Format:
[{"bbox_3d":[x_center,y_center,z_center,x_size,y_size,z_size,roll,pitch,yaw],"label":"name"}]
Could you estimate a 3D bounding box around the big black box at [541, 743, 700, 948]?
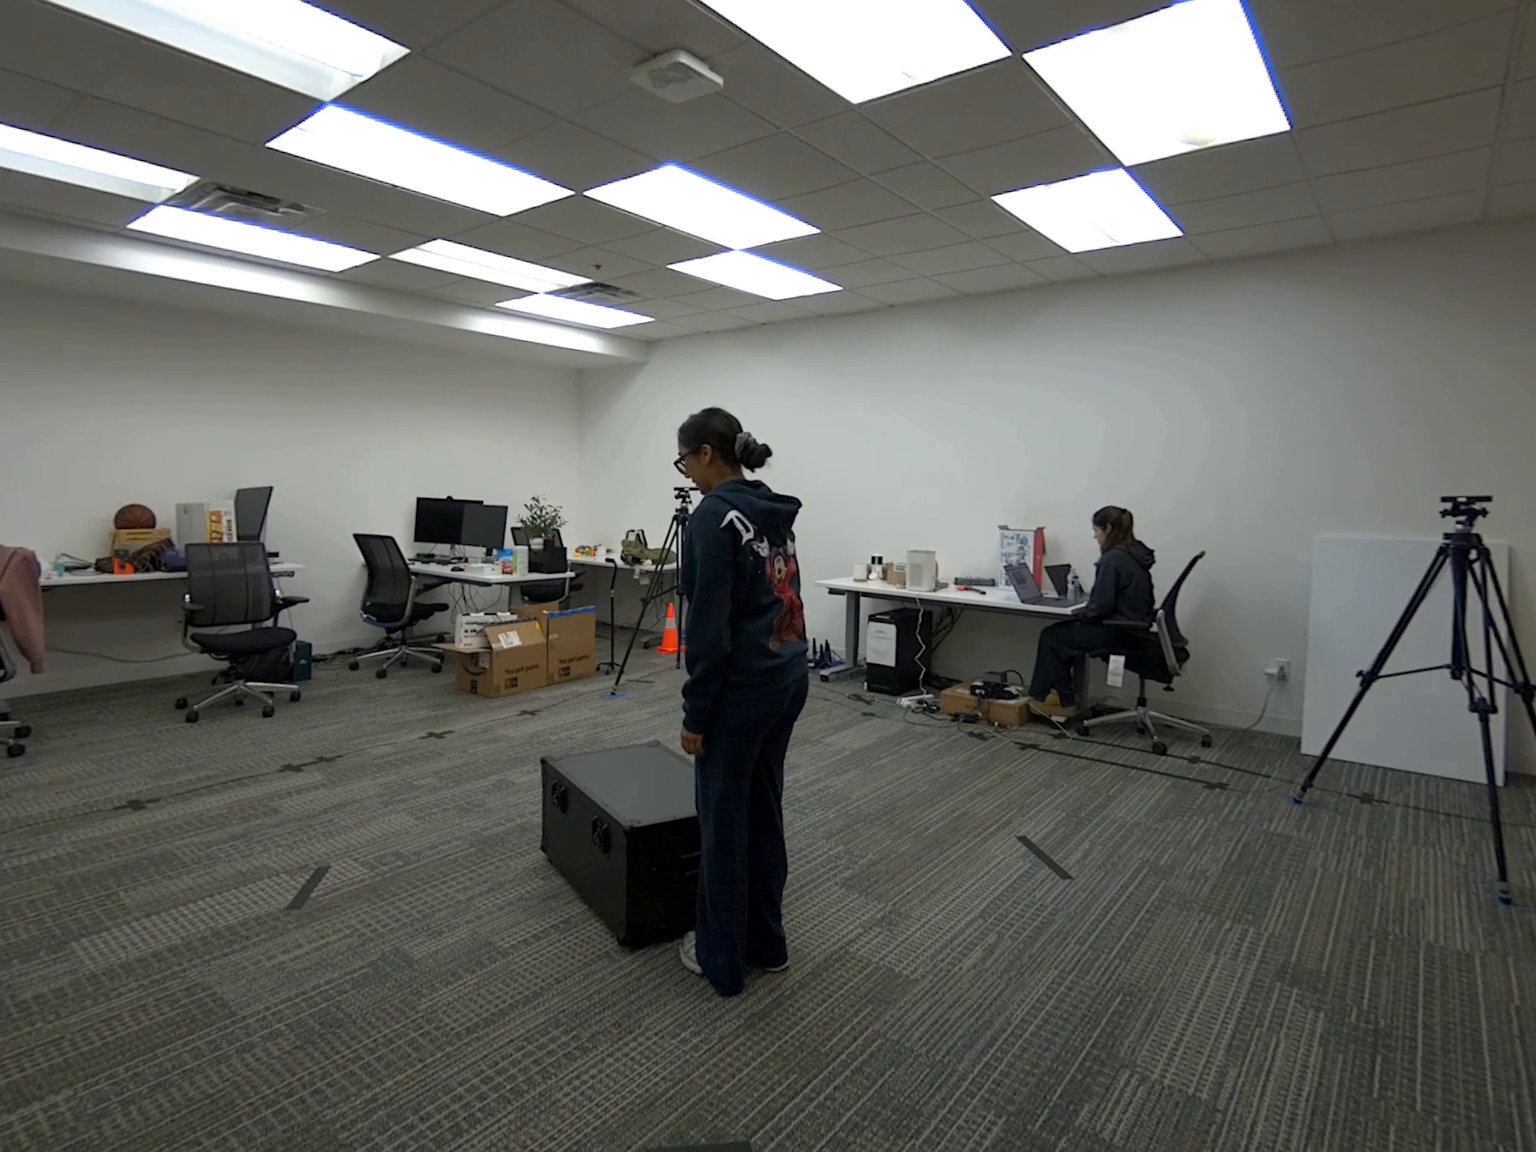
[{"bbox_3d":[-0.491,0.901,2.991,0.385,0.519,0.889,0,5,-33],"label":"big black box"}]
